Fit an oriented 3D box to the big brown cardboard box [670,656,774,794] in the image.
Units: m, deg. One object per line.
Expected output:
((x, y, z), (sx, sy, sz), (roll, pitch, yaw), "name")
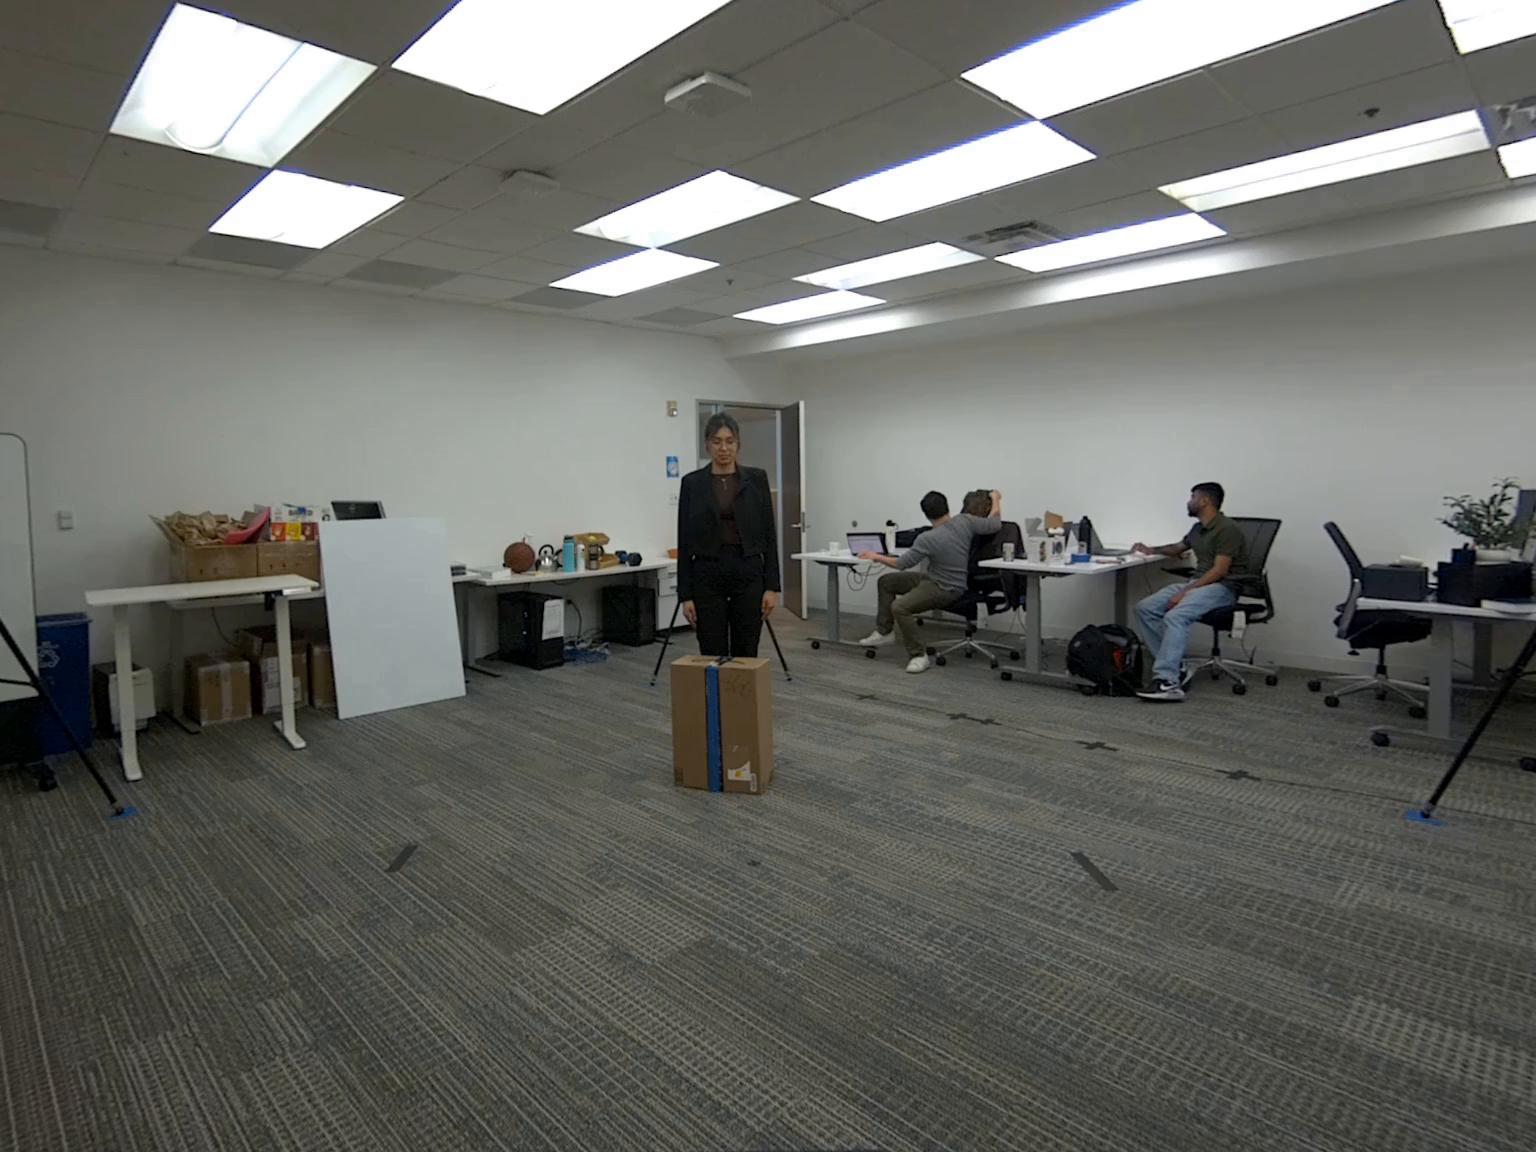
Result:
((-0.215, 0.680, 3.926), (0.425, 0.587, 0.229), (-1, 3, 19), "big brown cardboard box")
